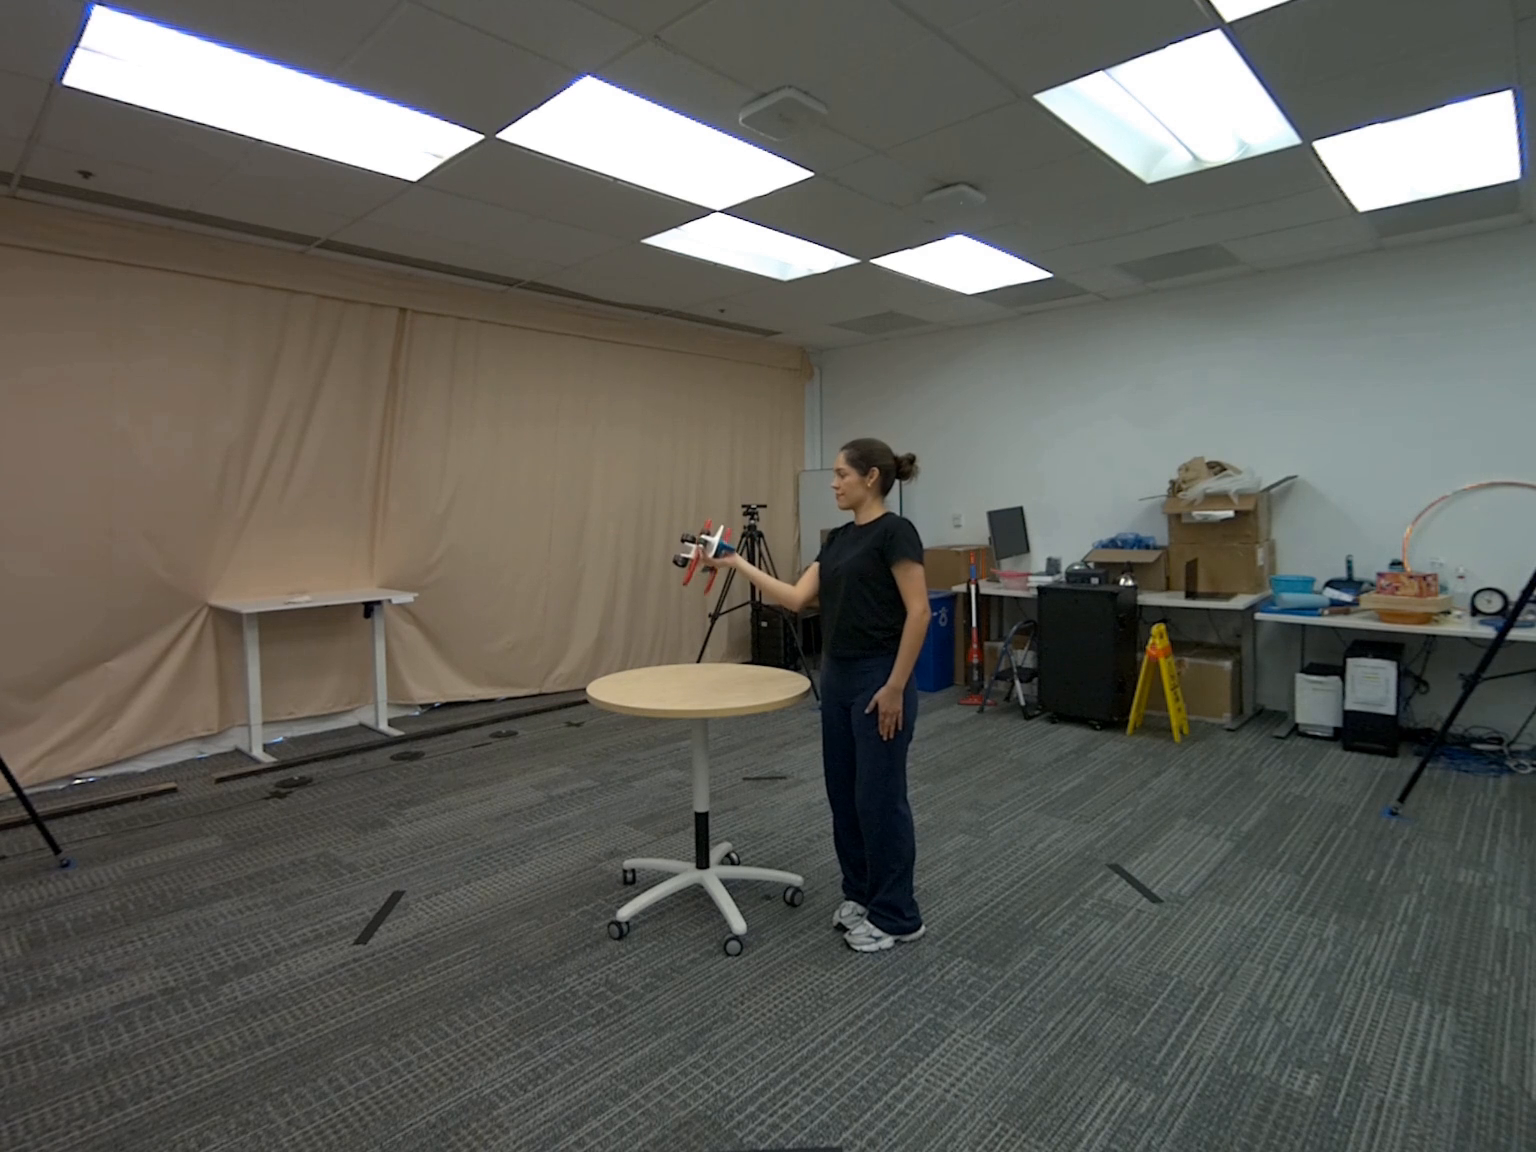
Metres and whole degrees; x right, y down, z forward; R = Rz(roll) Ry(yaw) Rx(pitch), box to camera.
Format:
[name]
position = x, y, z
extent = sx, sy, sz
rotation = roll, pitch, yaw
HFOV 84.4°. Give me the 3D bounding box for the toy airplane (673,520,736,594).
[toy airplane]
position = -0.194, -0.061, 2.886
extent = 0.152, 0.251, 0.266
rotation = 27, 5, -23
